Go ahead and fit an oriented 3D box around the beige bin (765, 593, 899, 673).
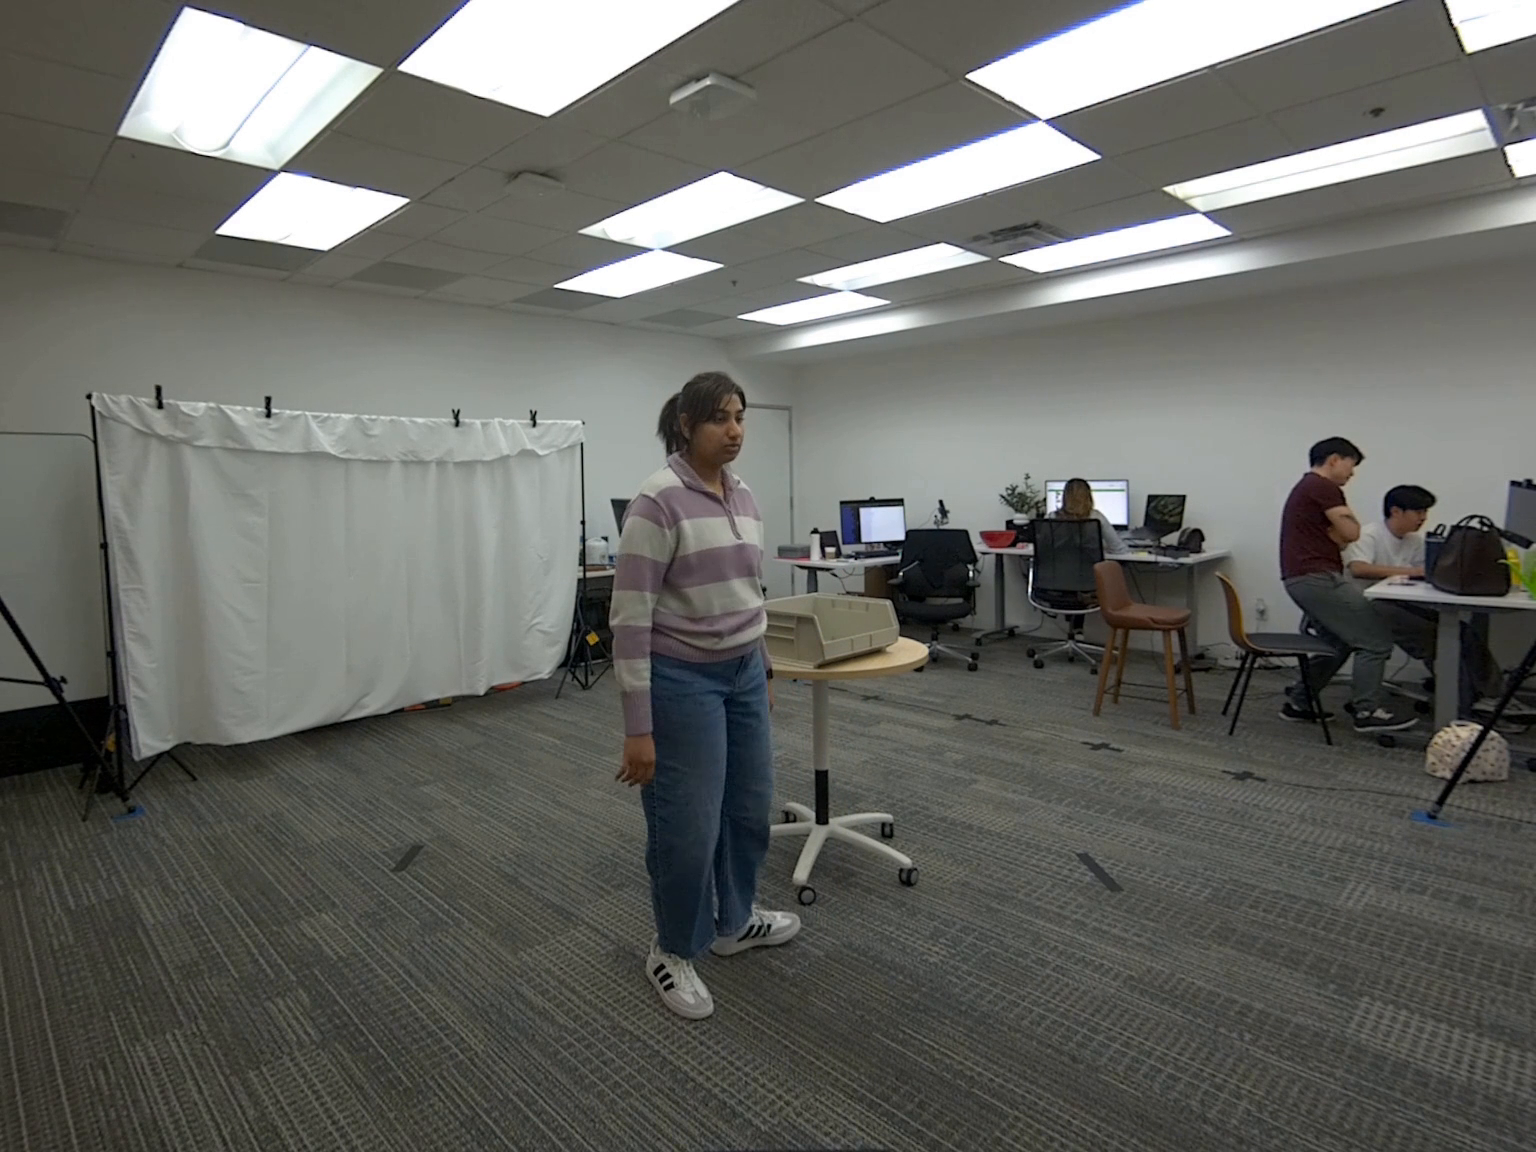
[{"bbox_3d":[0.180,0.186,2.966,0.388,0.188,0.411,2,7,45],"label":"beige bin"}]
